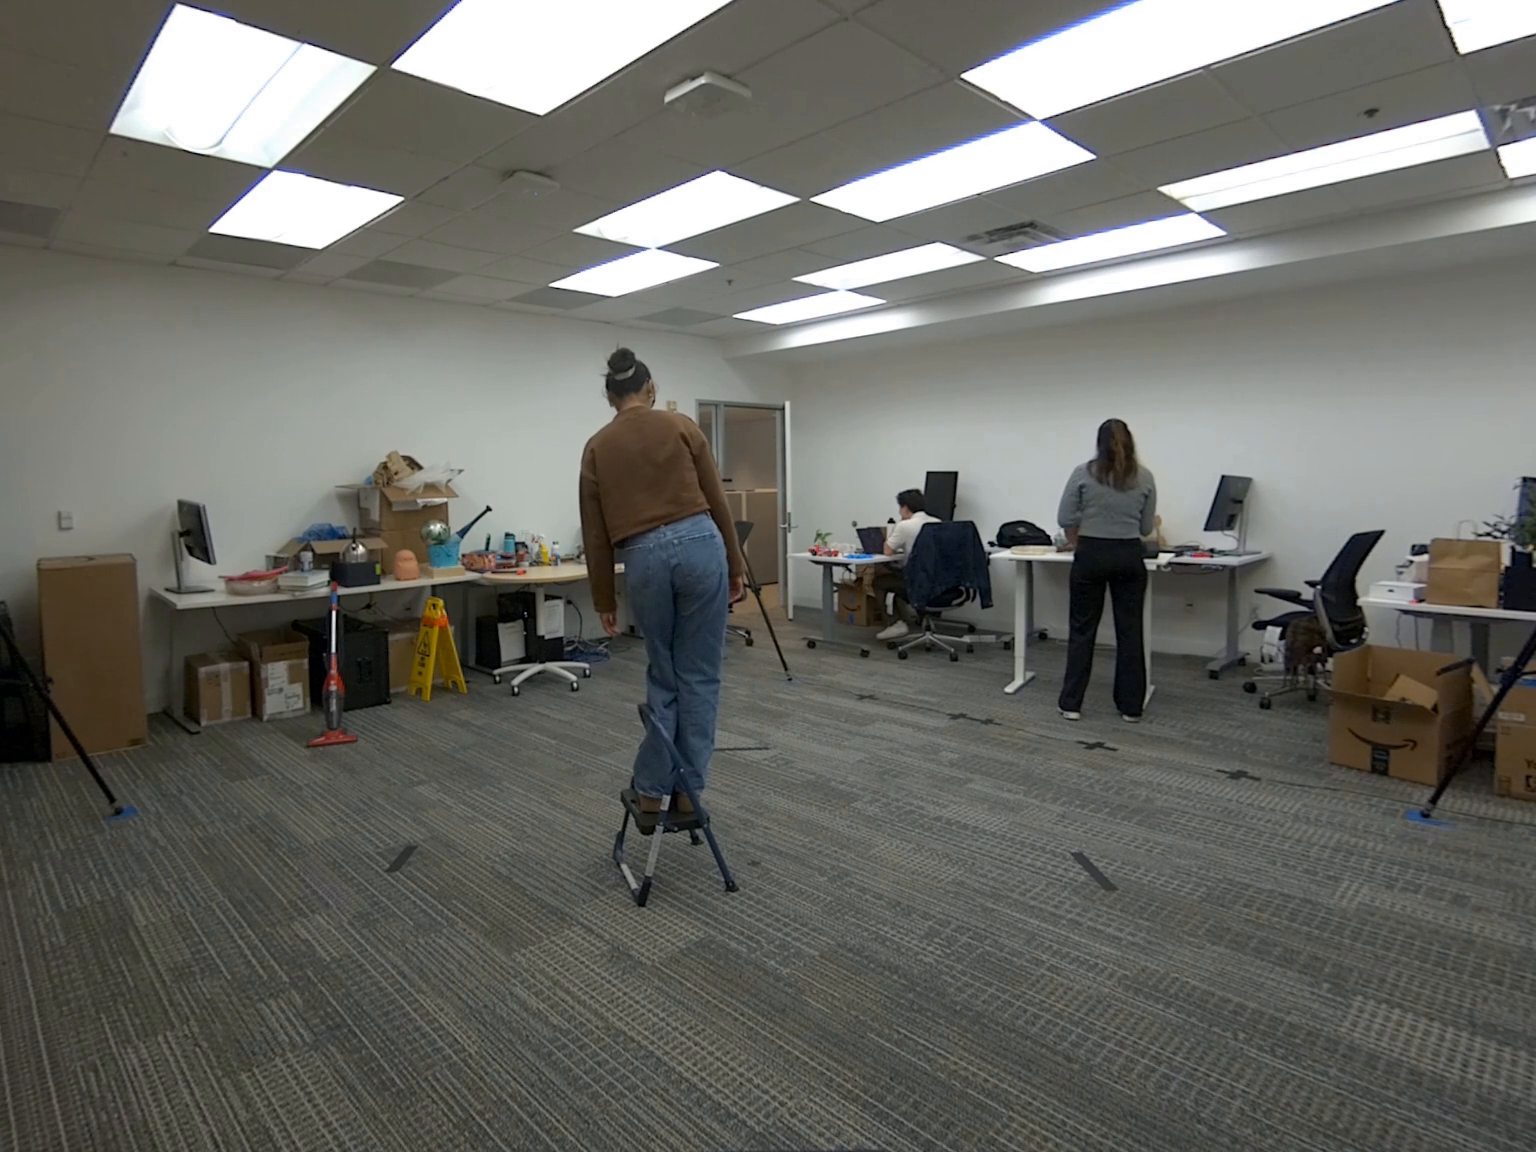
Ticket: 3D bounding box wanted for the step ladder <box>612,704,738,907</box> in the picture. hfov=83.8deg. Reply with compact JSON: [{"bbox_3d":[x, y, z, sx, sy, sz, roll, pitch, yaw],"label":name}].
[{"bbox_3d":[-0.345,0.759,3.027,0.343,0.604,0.440,-3,5,-22],"label":"step ladder"}]
